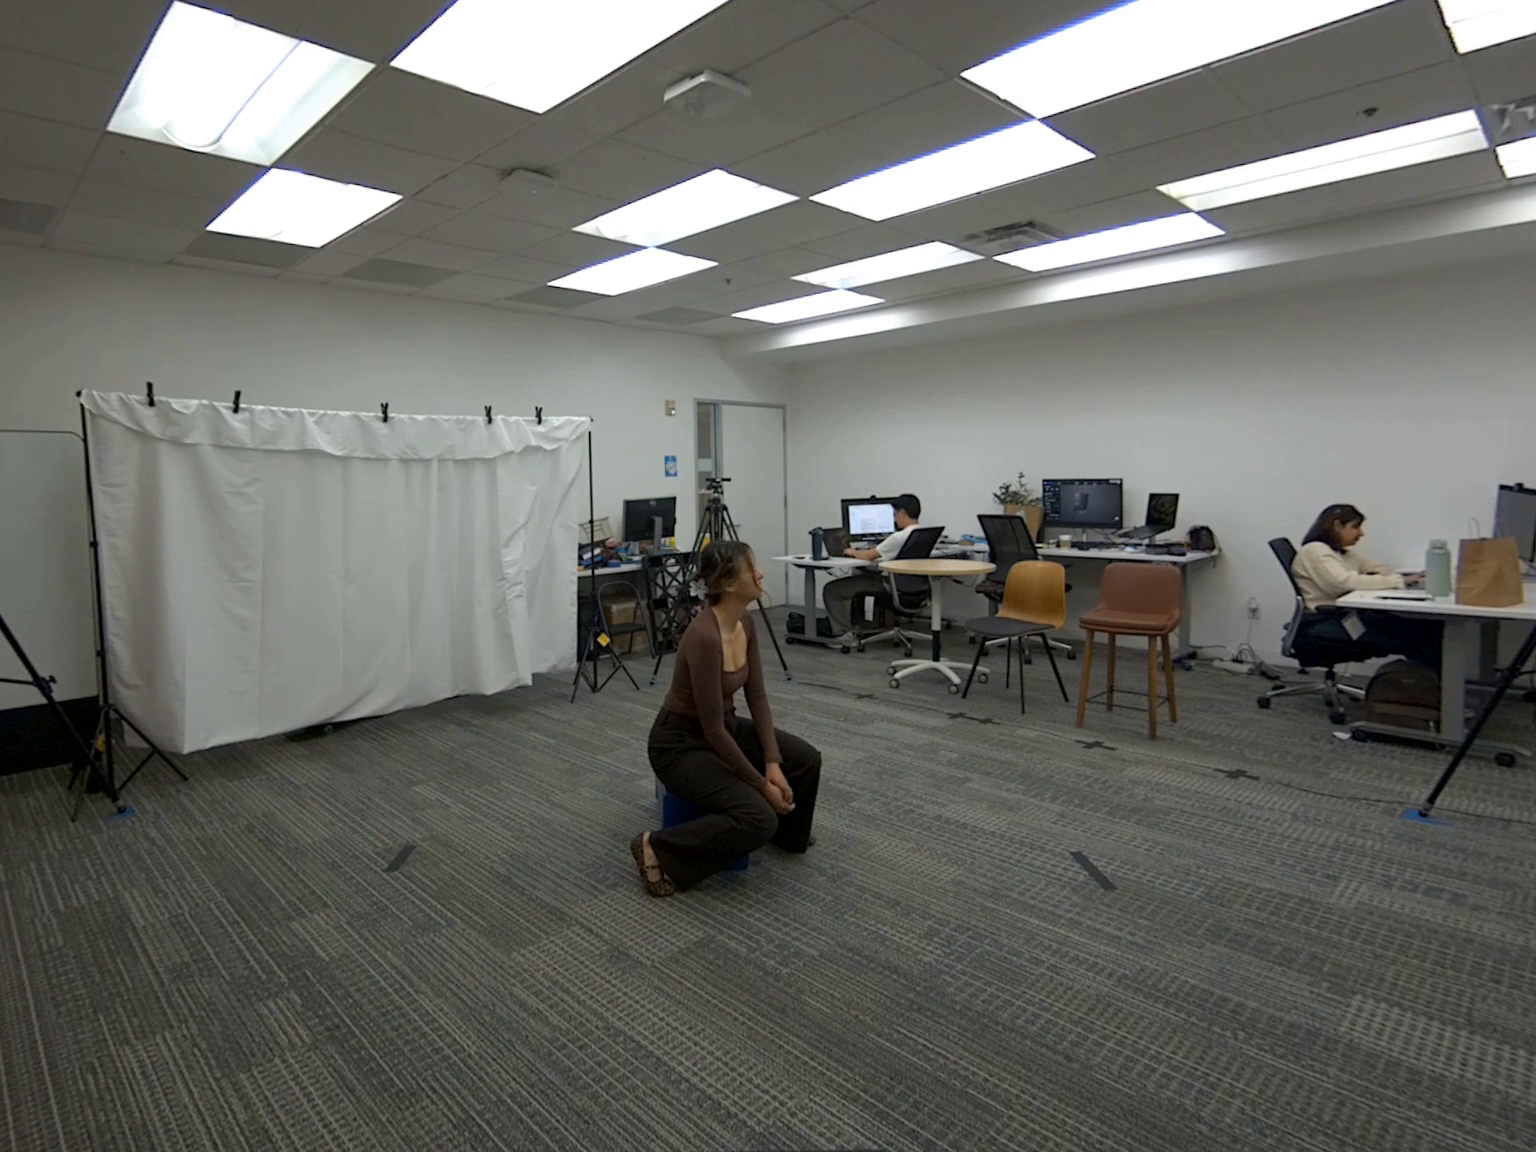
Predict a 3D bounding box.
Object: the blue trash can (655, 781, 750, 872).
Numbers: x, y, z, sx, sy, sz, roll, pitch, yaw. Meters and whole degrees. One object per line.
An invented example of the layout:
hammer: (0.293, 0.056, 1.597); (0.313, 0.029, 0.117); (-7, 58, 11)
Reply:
blue trash can: (-0.246, 0.848, 3.376); (0.371, 0.375, 0.723); (-1, 9, -8)
